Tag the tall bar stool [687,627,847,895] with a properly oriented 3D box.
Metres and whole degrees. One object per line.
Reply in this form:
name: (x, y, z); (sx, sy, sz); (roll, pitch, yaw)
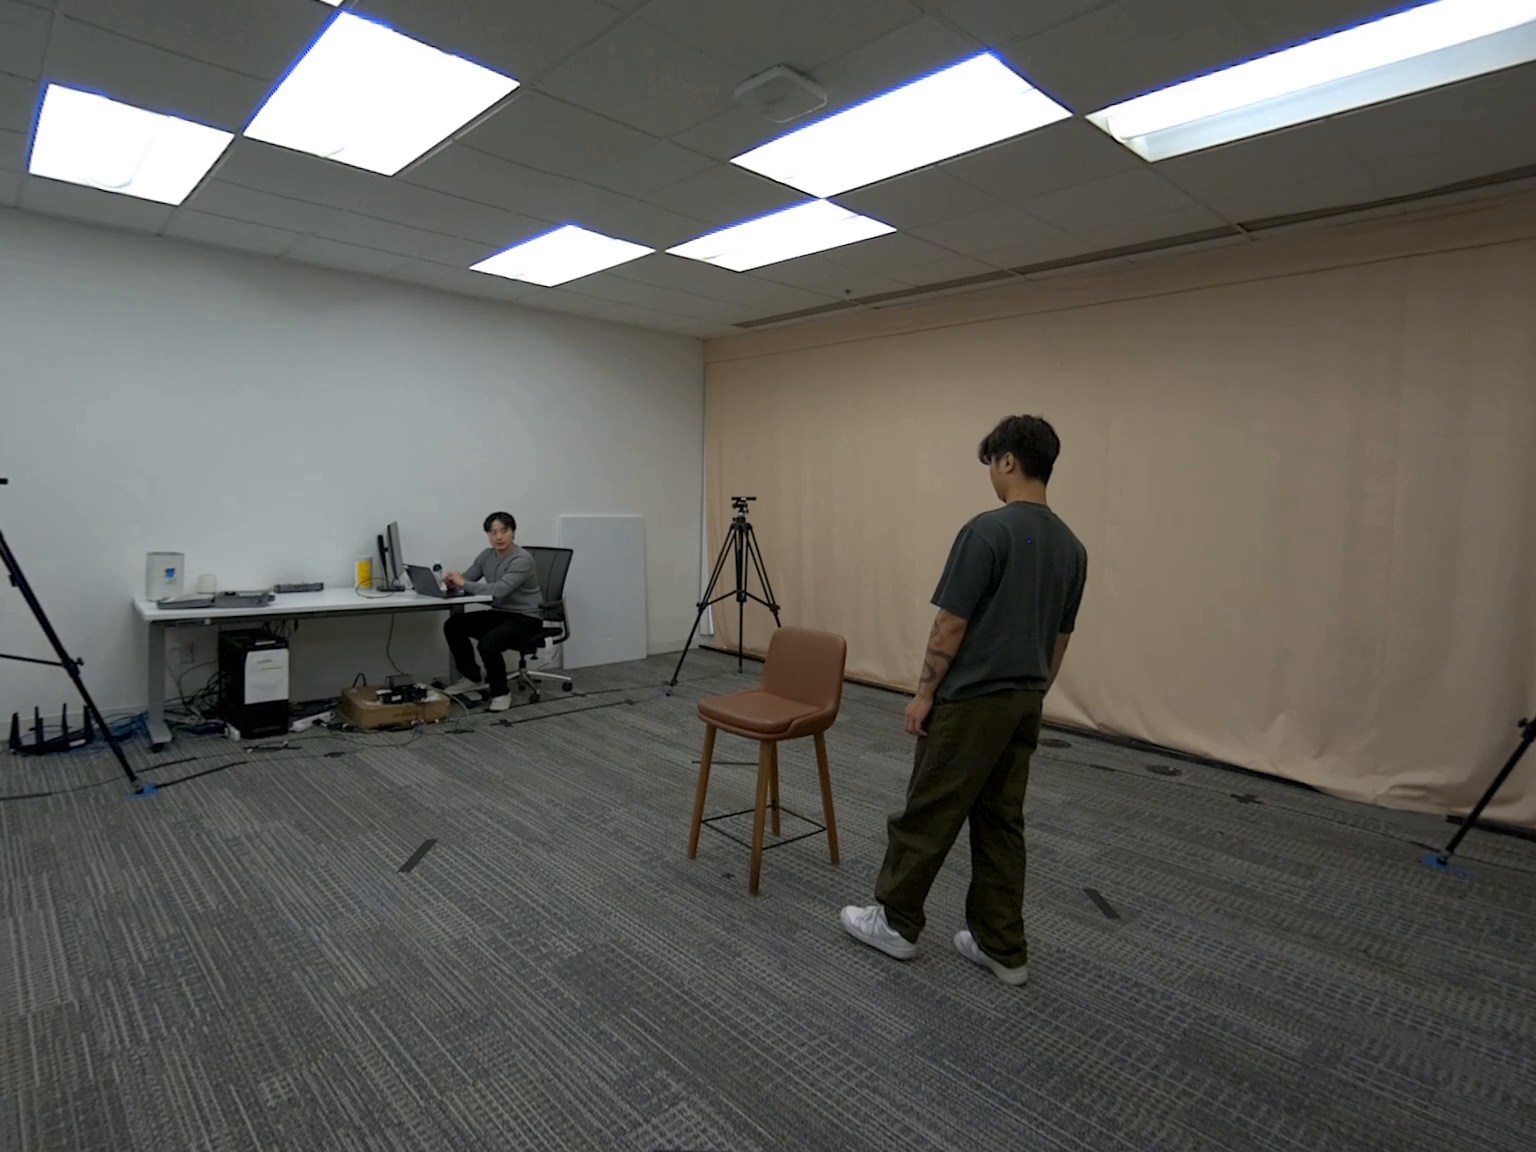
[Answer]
tall bar stool: (-0.002, 0.663, 3.219); (0.456, 0.889, 0.468); (2, 2, -39)
